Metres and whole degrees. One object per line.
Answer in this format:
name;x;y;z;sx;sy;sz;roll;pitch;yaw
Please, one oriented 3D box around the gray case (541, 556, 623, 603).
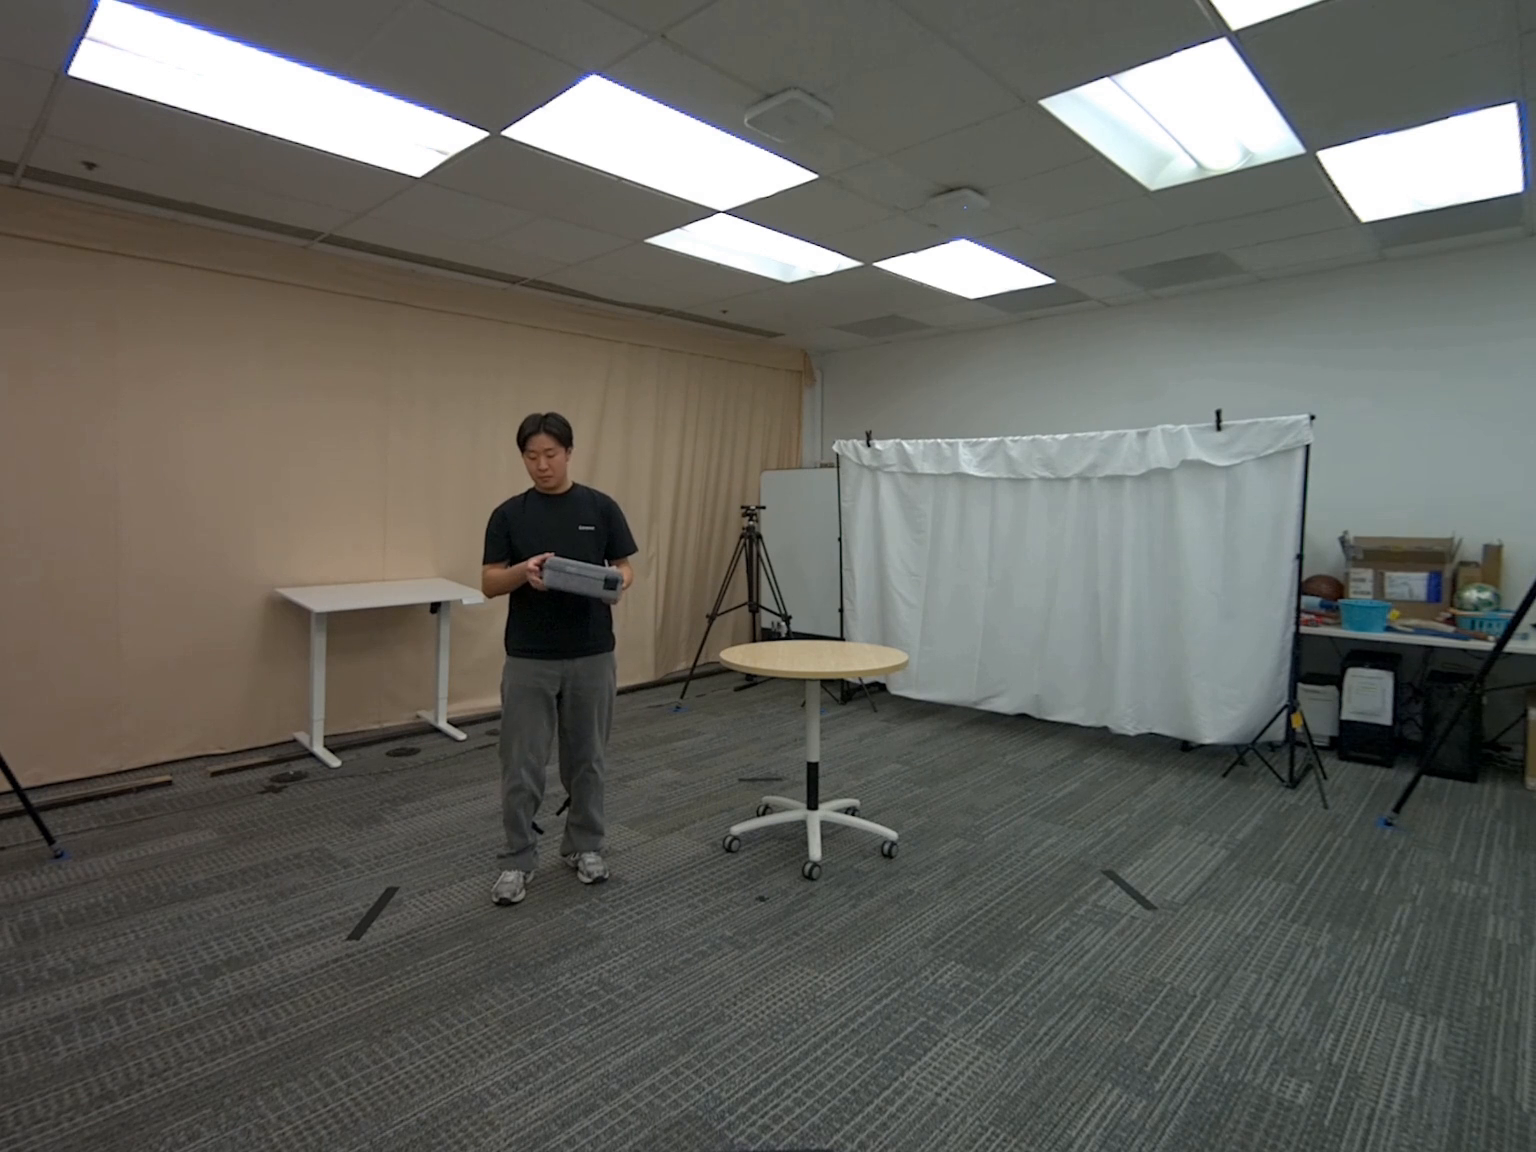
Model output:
gray case;-0.620;0.012;2.837;0.263;0.103;0.287;9;-1;-3
